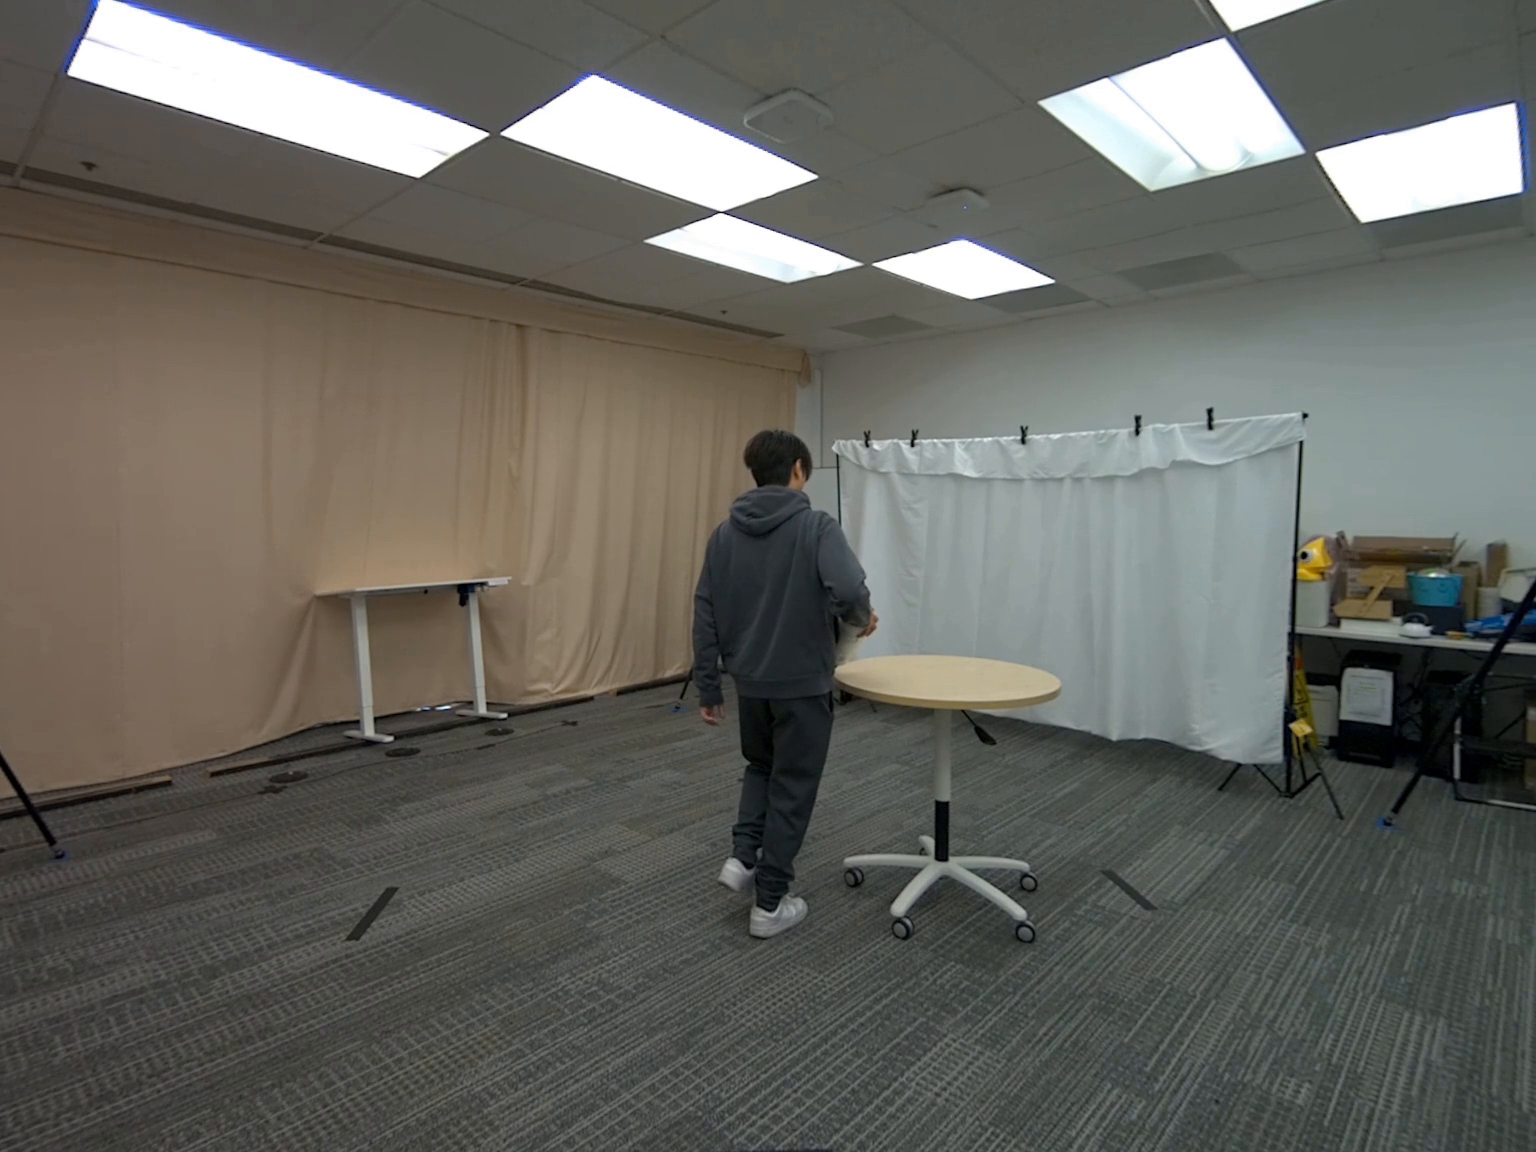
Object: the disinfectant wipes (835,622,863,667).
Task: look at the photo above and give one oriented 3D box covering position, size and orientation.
[{"bbox_3d":[0.269,0.207,2.883,0.116,0.216,0.120,10,44,-12],"label":"disinfectant wipes"}]
